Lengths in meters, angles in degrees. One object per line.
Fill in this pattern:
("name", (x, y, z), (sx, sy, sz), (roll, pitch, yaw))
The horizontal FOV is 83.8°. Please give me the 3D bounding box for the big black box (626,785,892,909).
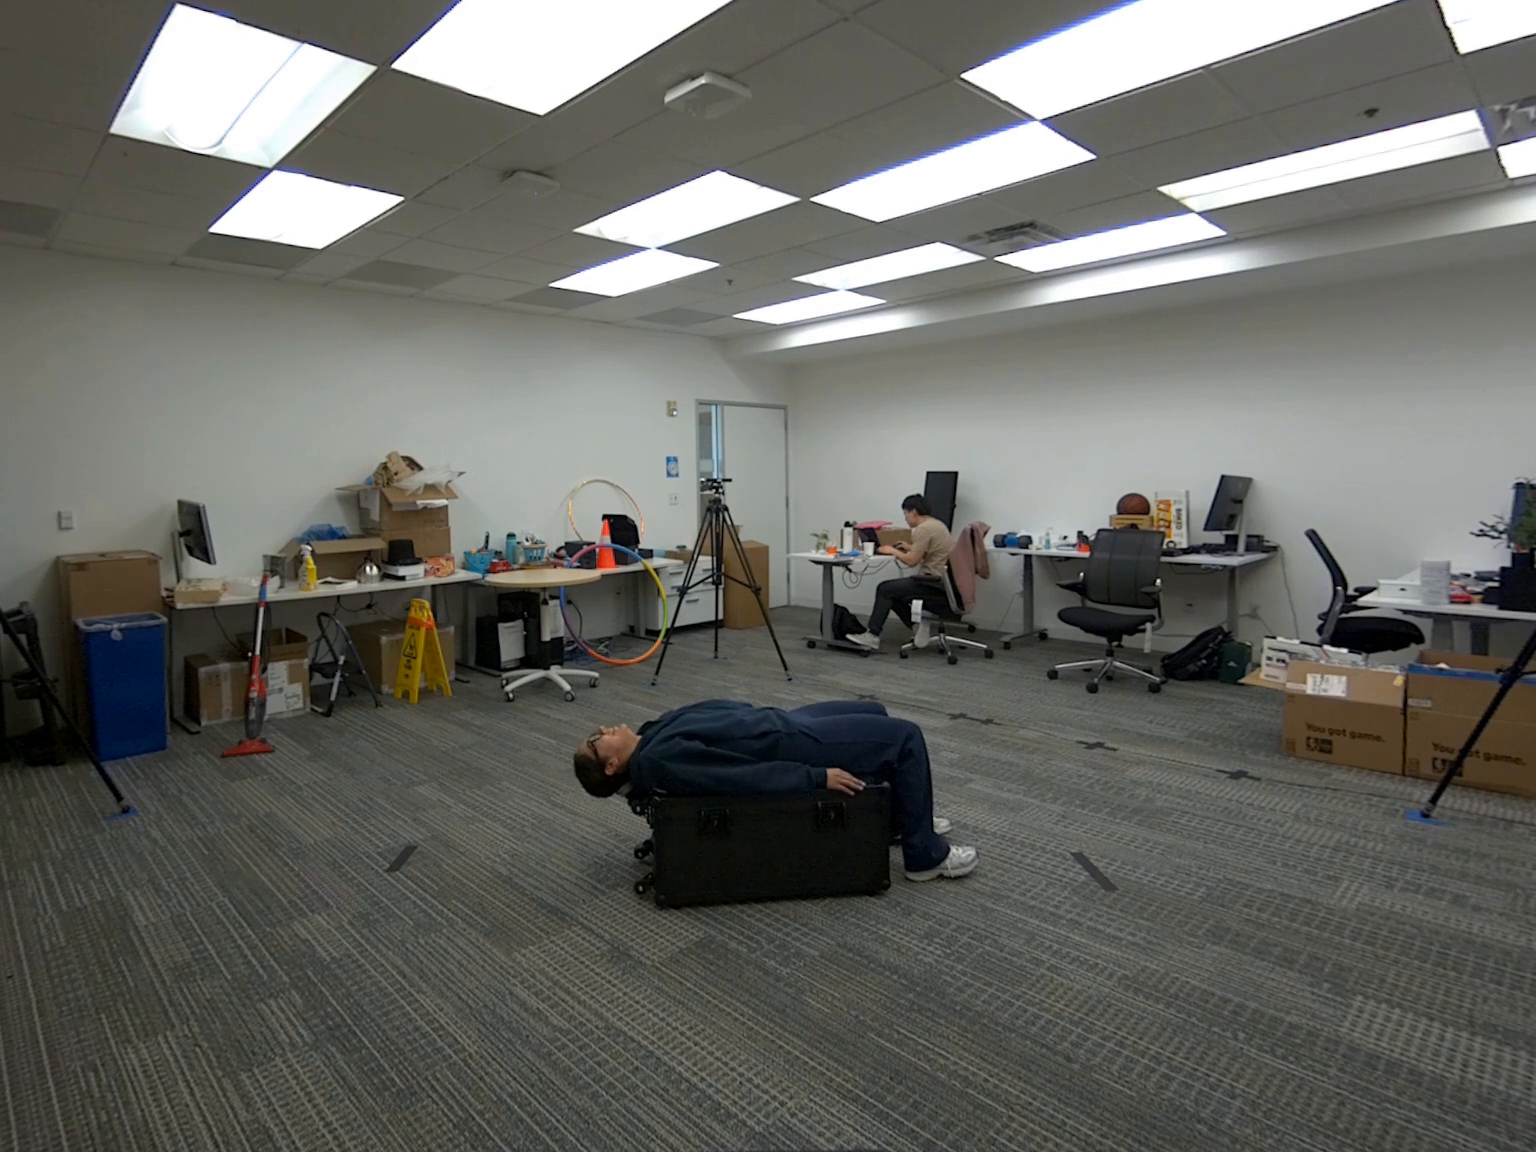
("big black box", (-0.055, 0.863, 3.029), (0.856, 0.394, 0.528), (-1, 6, -7))
